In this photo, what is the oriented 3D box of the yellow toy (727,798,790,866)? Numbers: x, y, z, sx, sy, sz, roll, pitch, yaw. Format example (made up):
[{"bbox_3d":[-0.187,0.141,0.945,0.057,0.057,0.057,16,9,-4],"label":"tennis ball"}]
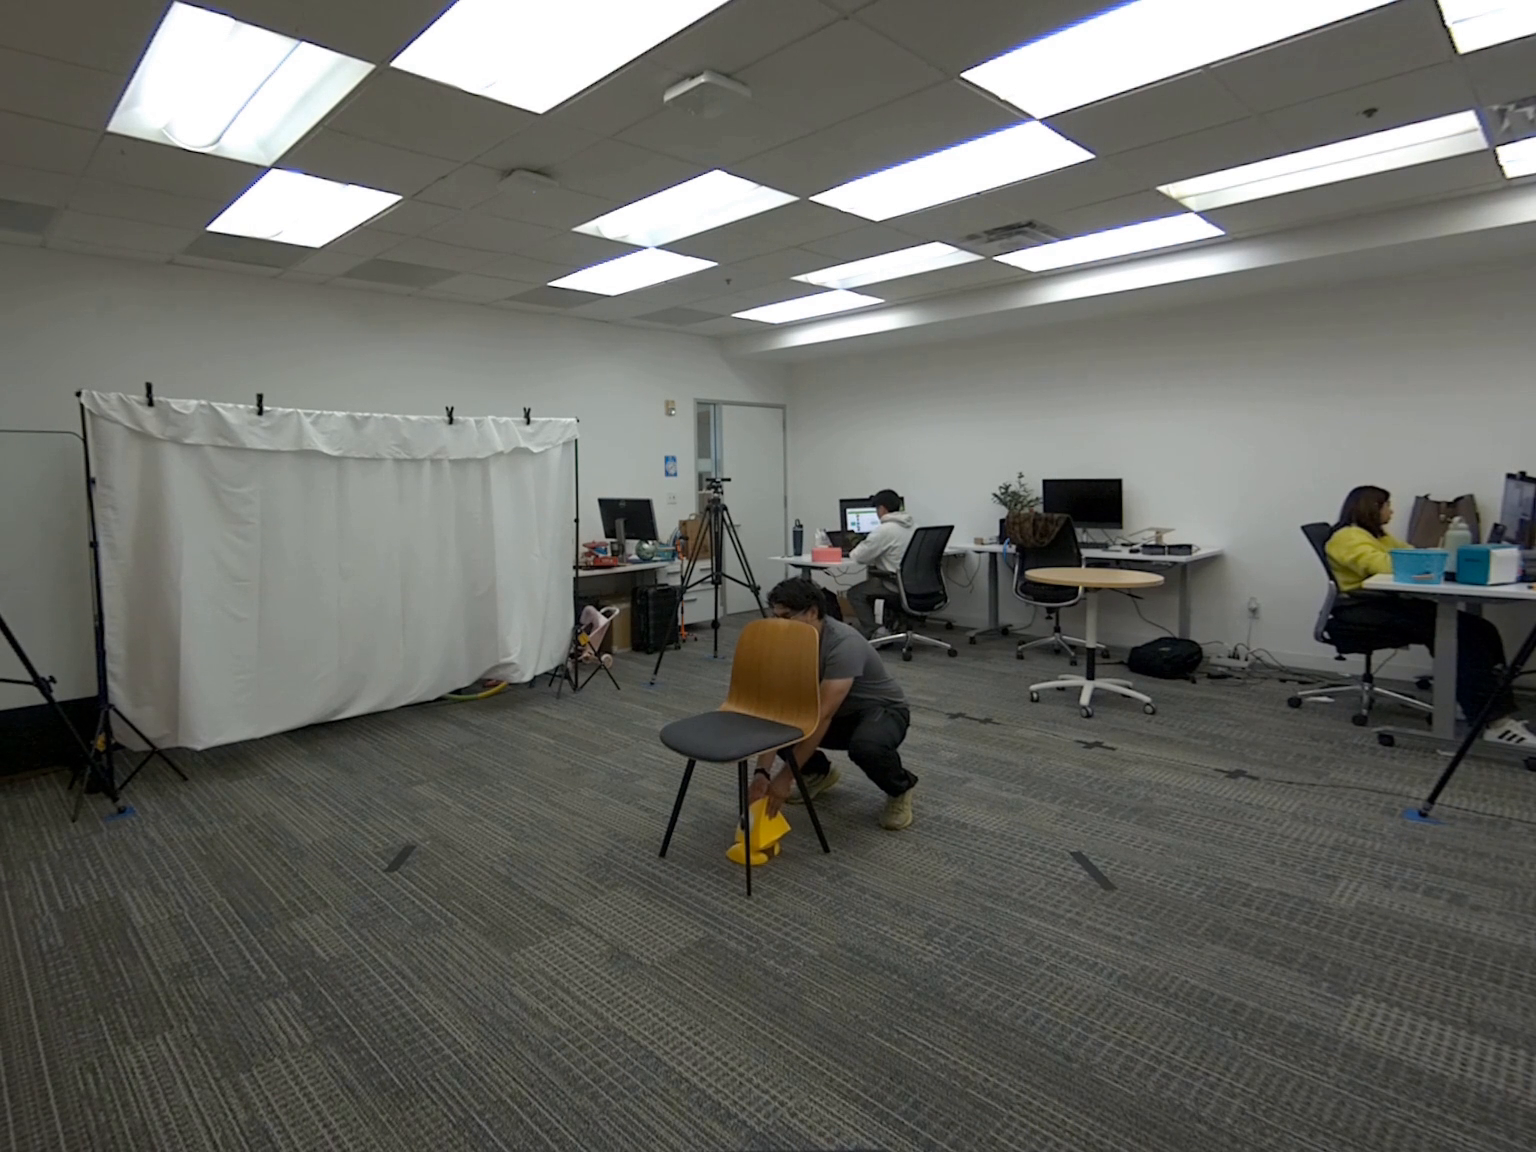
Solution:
[{"bbox_3d":[-0.044,0.924,3.176,0.199,0.229,0.200,4,7,37],"label":"yellow toy"}]
